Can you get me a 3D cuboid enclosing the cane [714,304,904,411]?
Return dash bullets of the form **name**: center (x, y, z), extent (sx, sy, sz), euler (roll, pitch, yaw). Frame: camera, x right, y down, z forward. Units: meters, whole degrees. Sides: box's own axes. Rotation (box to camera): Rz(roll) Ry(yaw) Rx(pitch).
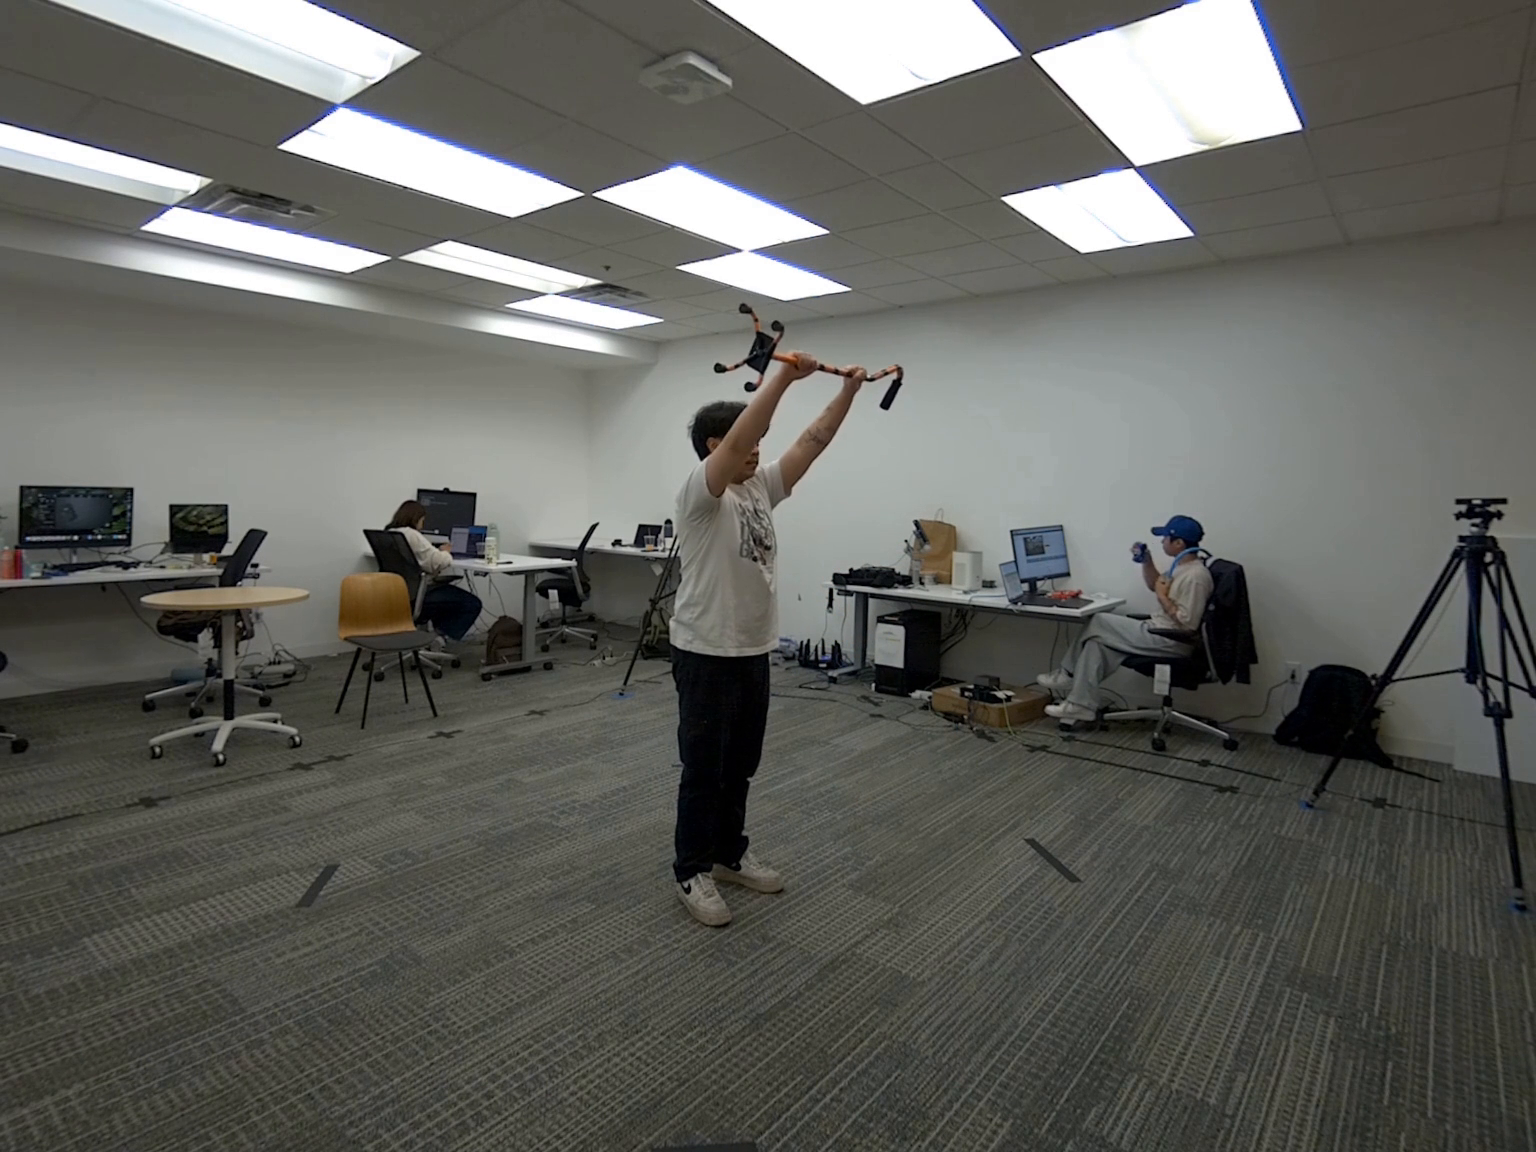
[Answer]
- **cane**: center (0.185, -0.655, 2.667), extent (0.157, 0.205, 0.882), euler (38, 24, 28)
